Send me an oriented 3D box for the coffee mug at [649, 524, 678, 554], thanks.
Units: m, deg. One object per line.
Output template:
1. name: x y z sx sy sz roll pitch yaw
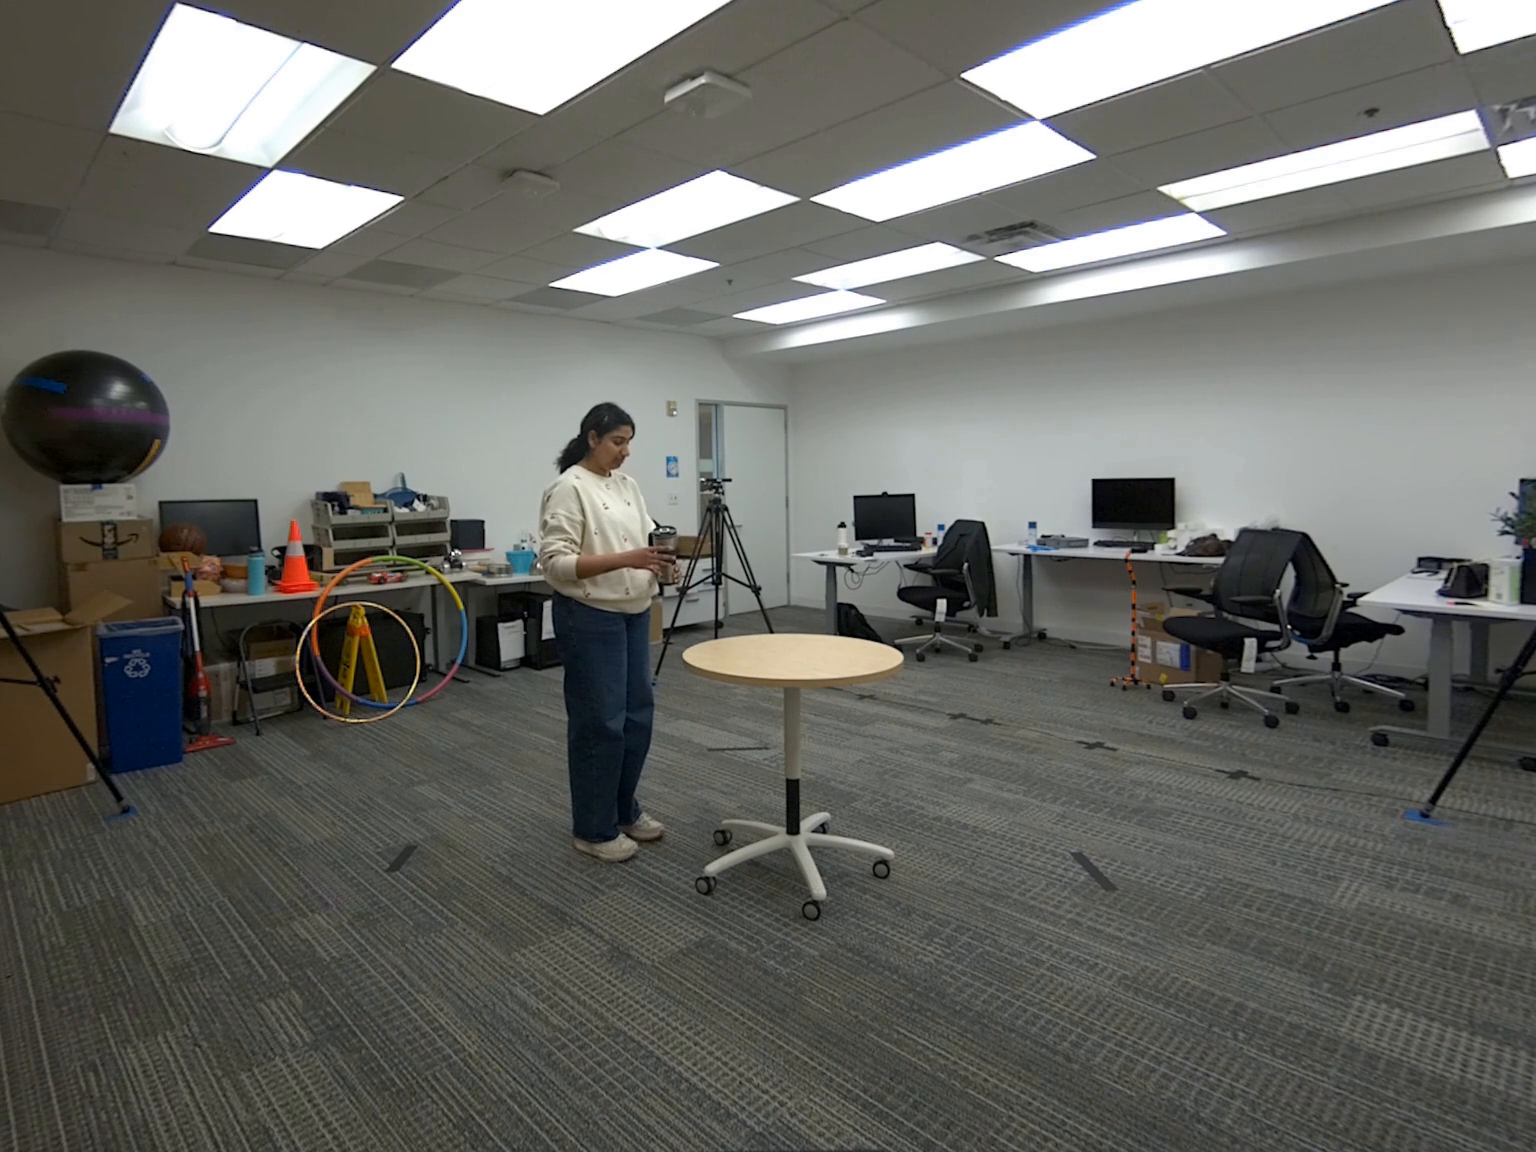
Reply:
1. coffee mug: -0.382 -0.077 3.103 0.086 0.200 0.126 -11 20 -26
